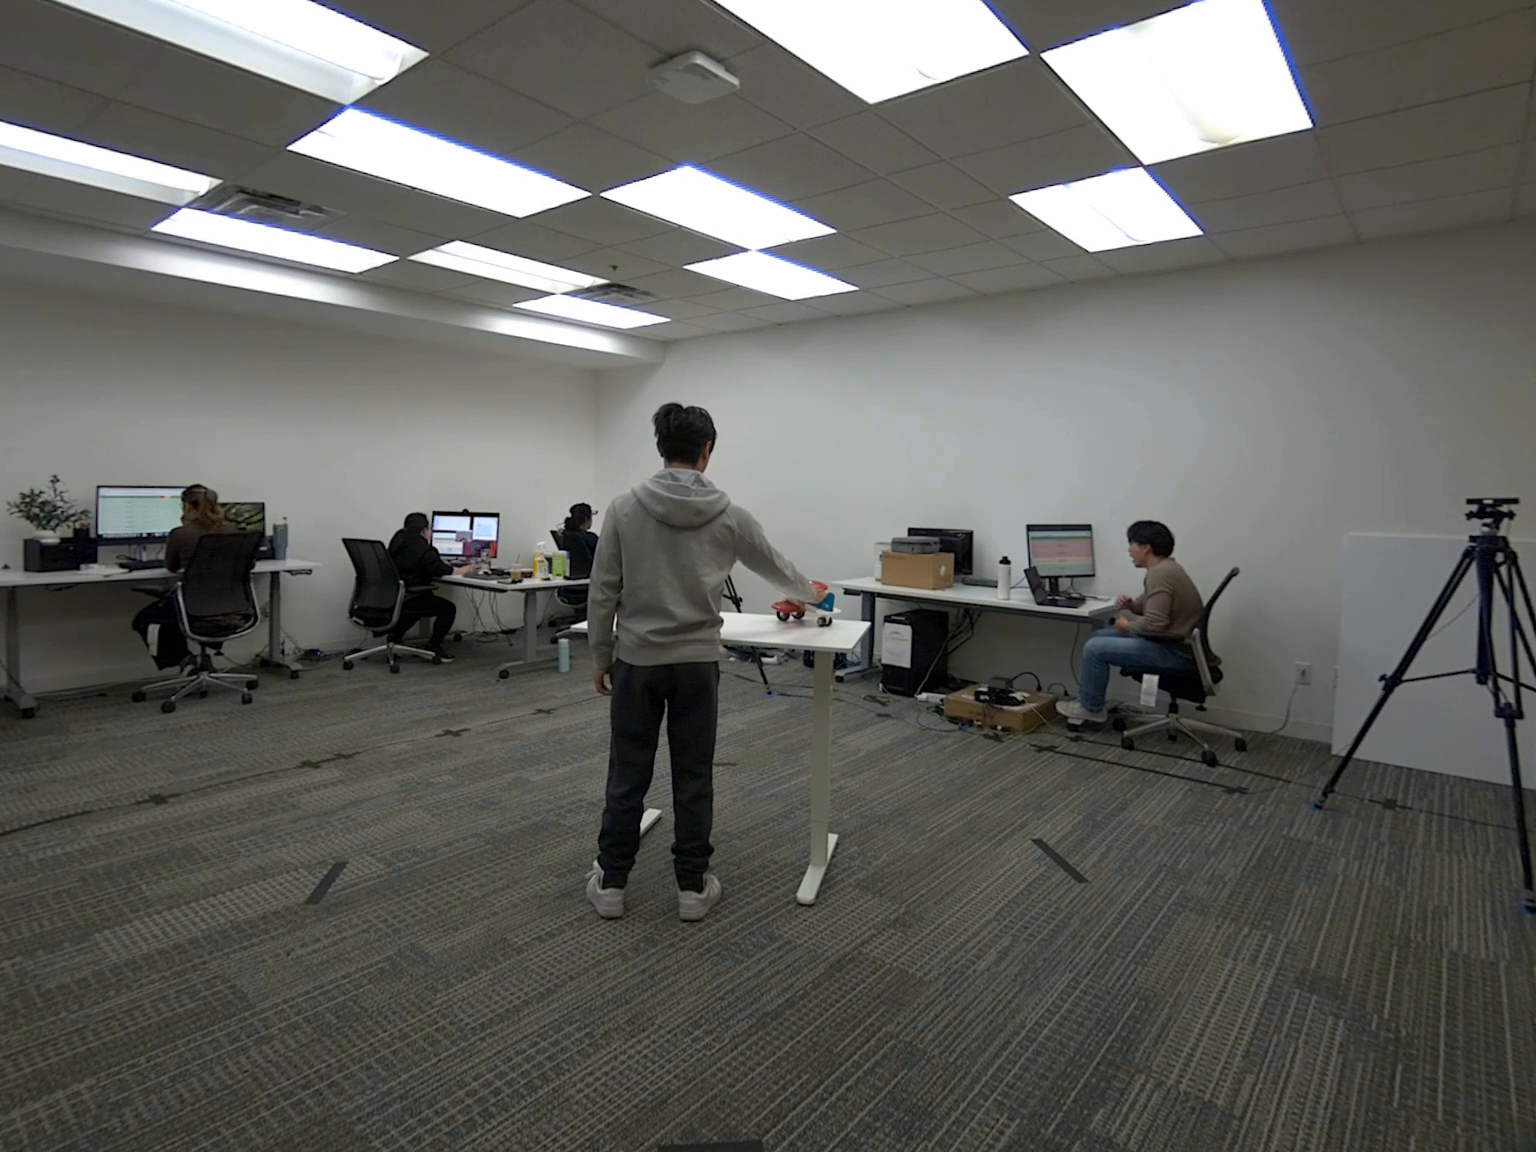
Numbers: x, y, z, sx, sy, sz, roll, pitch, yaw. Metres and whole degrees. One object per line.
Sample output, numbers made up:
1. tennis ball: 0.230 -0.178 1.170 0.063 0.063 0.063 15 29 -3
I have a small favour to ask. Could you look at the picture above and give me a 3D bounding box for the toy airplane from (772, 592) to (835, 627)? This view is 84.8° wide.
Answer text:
1. toy airplane: 0.149 0.100 3.282 0.265 0.156 0.247 2 6 19
